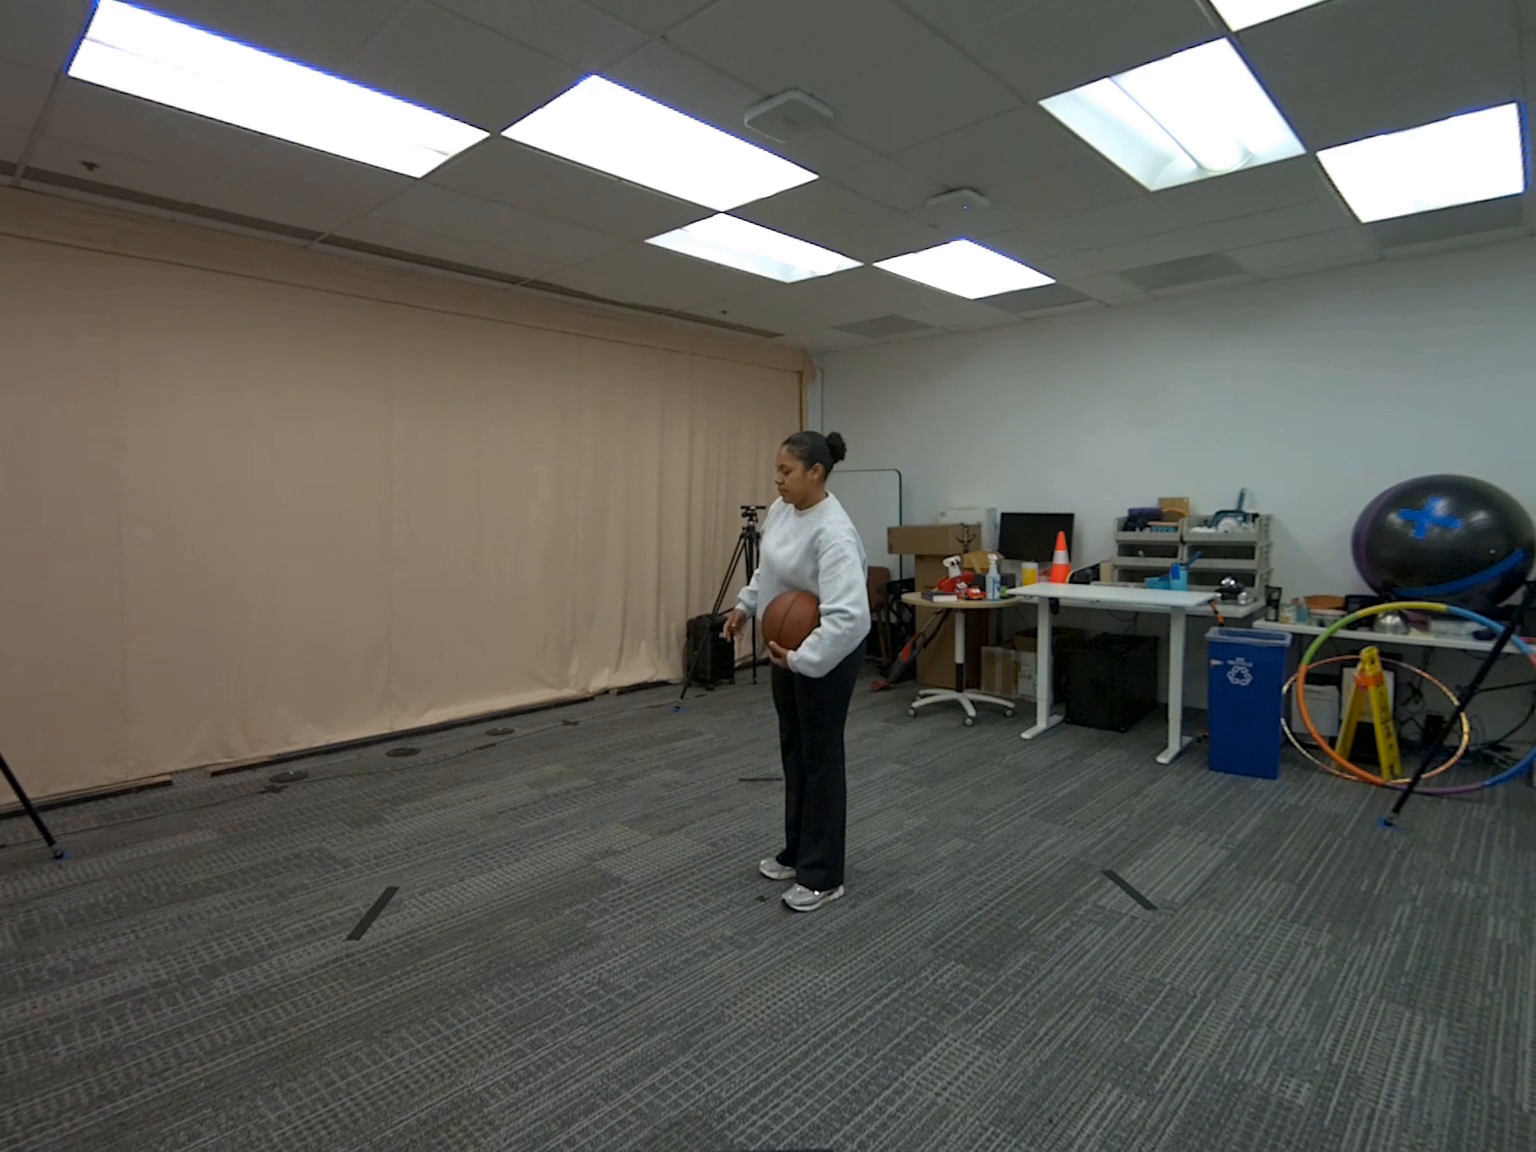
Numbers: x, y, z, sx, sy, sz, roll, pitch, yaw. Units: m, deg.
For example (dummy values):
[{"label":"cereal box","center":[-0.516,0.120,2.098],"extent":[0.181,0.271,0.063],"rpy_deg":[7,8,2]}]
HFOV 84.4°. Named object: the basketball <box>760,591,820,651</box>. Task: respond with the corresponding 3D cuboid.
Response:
[{"label":"basketball","center":[0.100,0.164,2.811],"extent":[0.236,0.235,0.237],"rpy_deg":[0,4,-2]}]
